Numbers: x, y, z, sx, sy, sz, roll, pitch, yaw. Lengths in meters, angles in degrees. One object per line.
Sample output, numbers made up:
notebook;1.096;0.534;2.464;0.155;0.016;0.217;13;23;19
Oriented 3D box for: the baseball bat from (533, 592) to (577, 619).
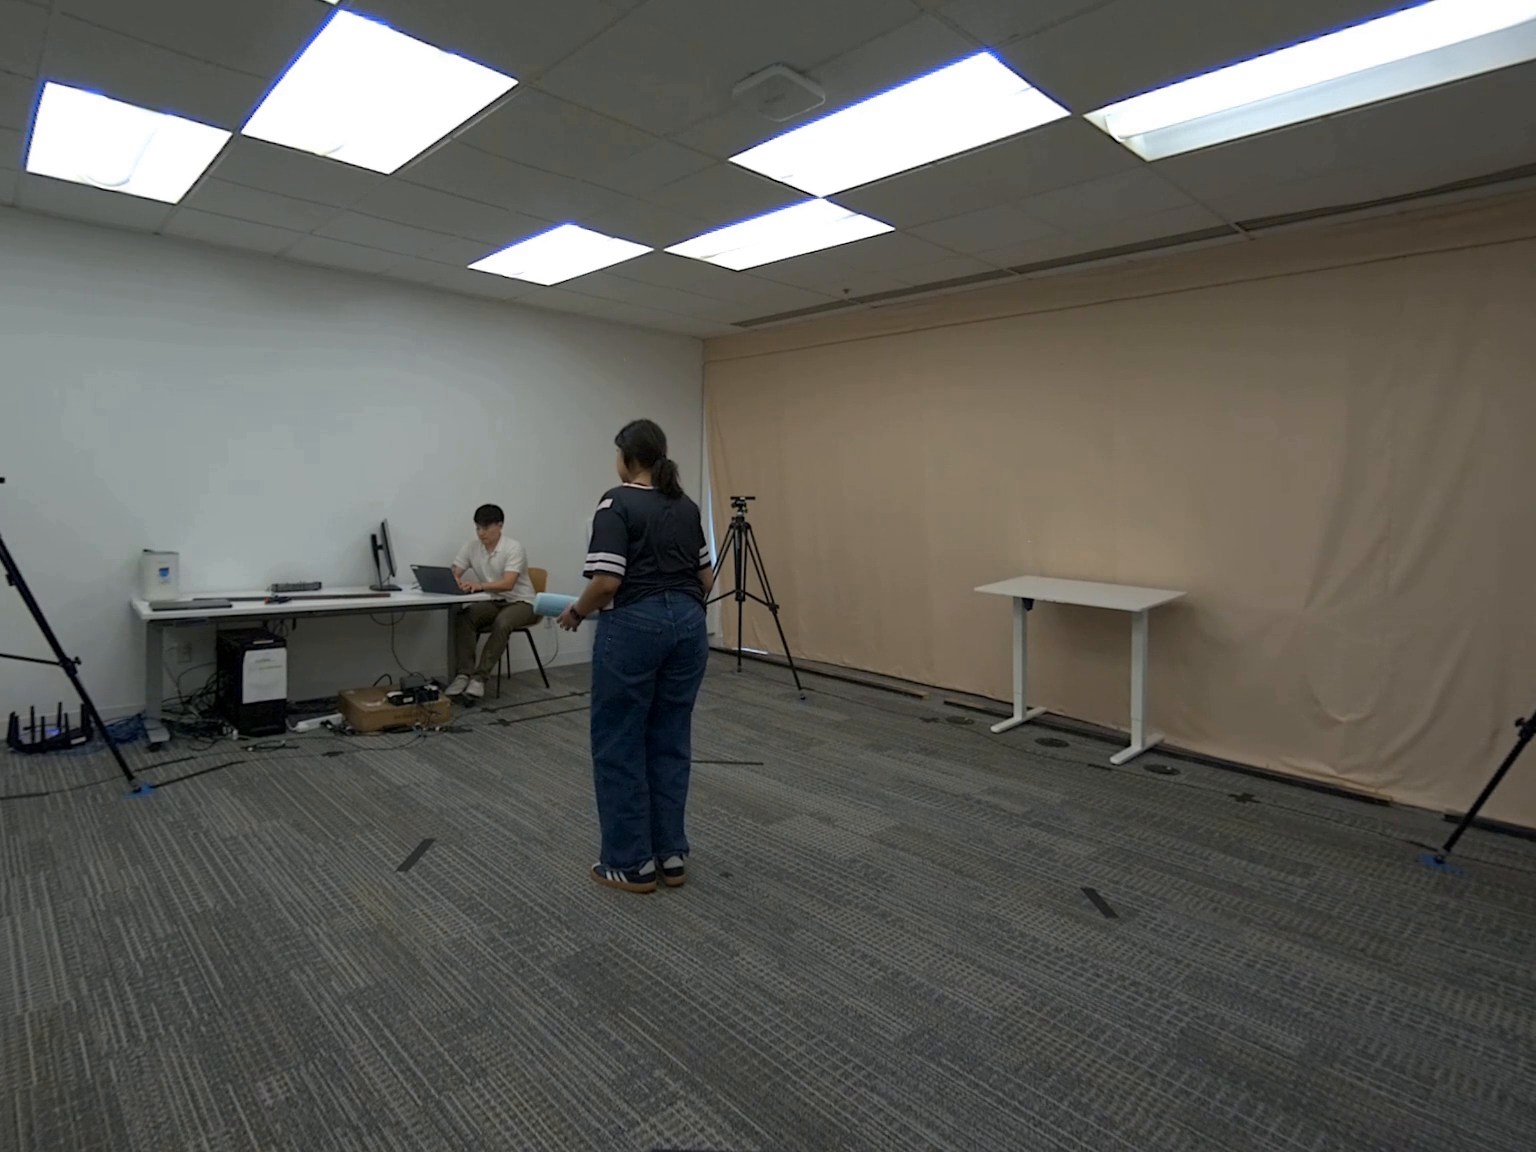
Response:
baseball bat;-0.642;0.149;3.302;0.535;0.089;0.090;9;2;-16
